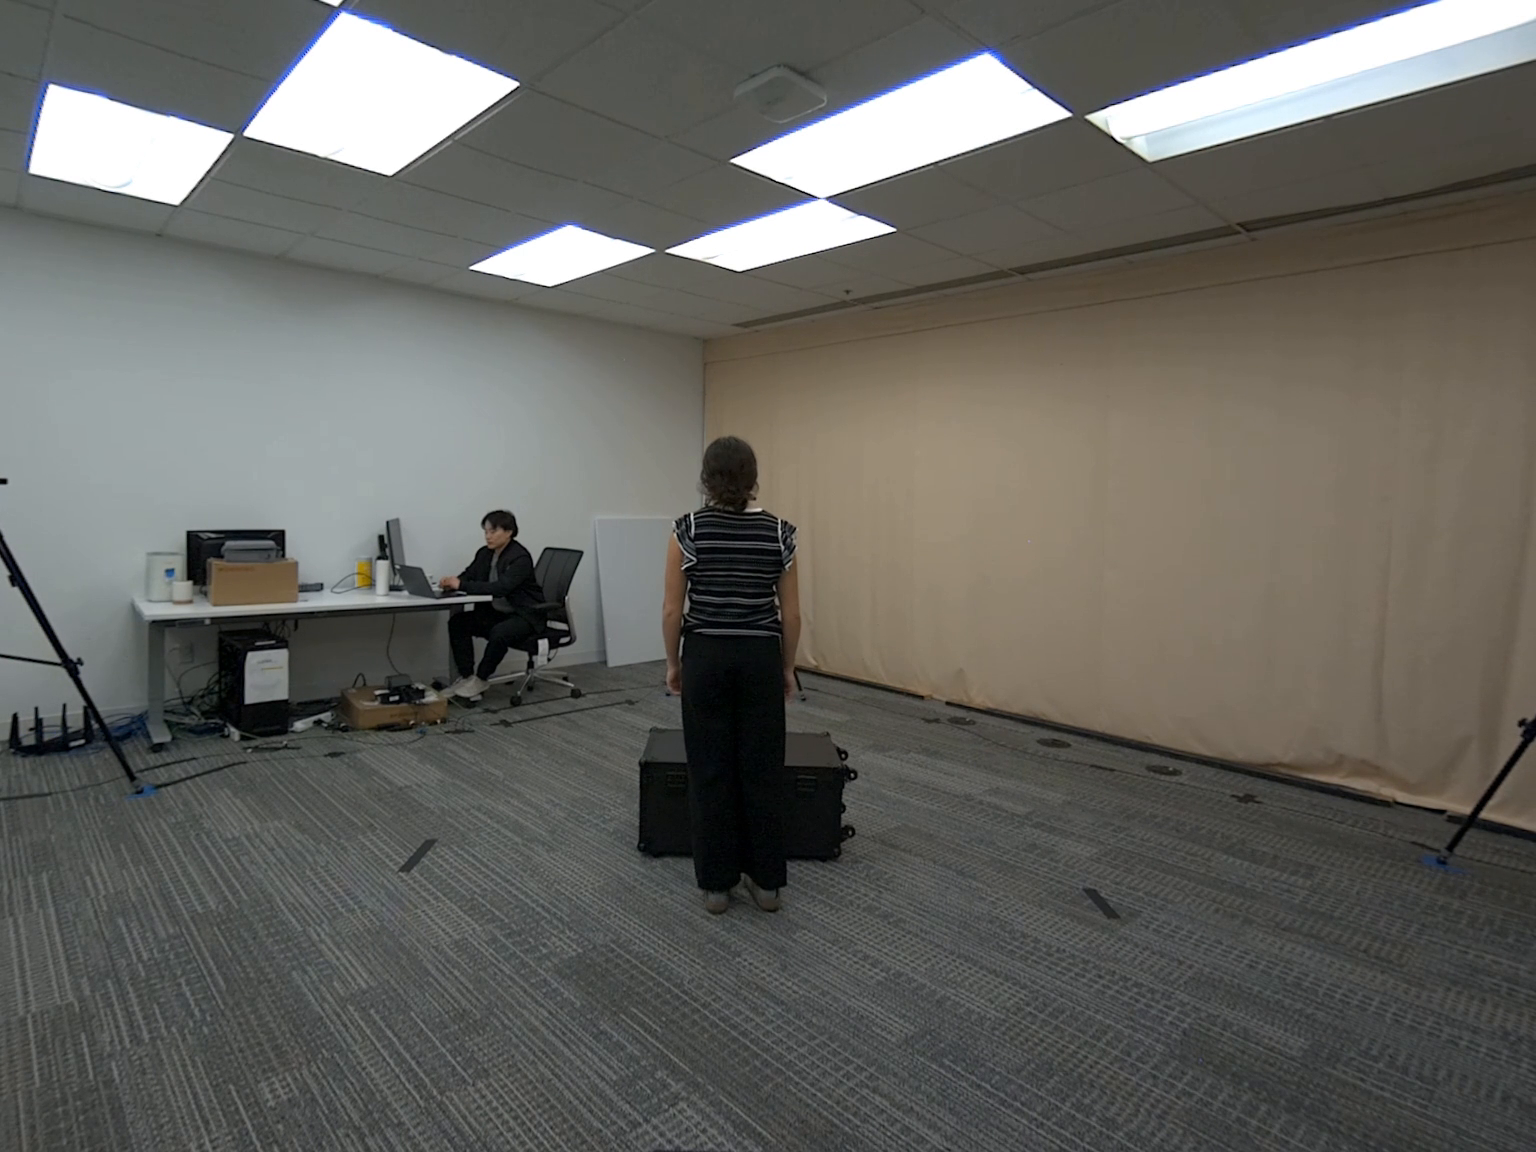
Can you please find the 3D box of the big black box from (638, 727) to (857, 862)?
[{"bbox_3d":[-0.091,0.885,3.464,0.861,0.395,0.523,1,5,-1],"label":"big black box"}]
